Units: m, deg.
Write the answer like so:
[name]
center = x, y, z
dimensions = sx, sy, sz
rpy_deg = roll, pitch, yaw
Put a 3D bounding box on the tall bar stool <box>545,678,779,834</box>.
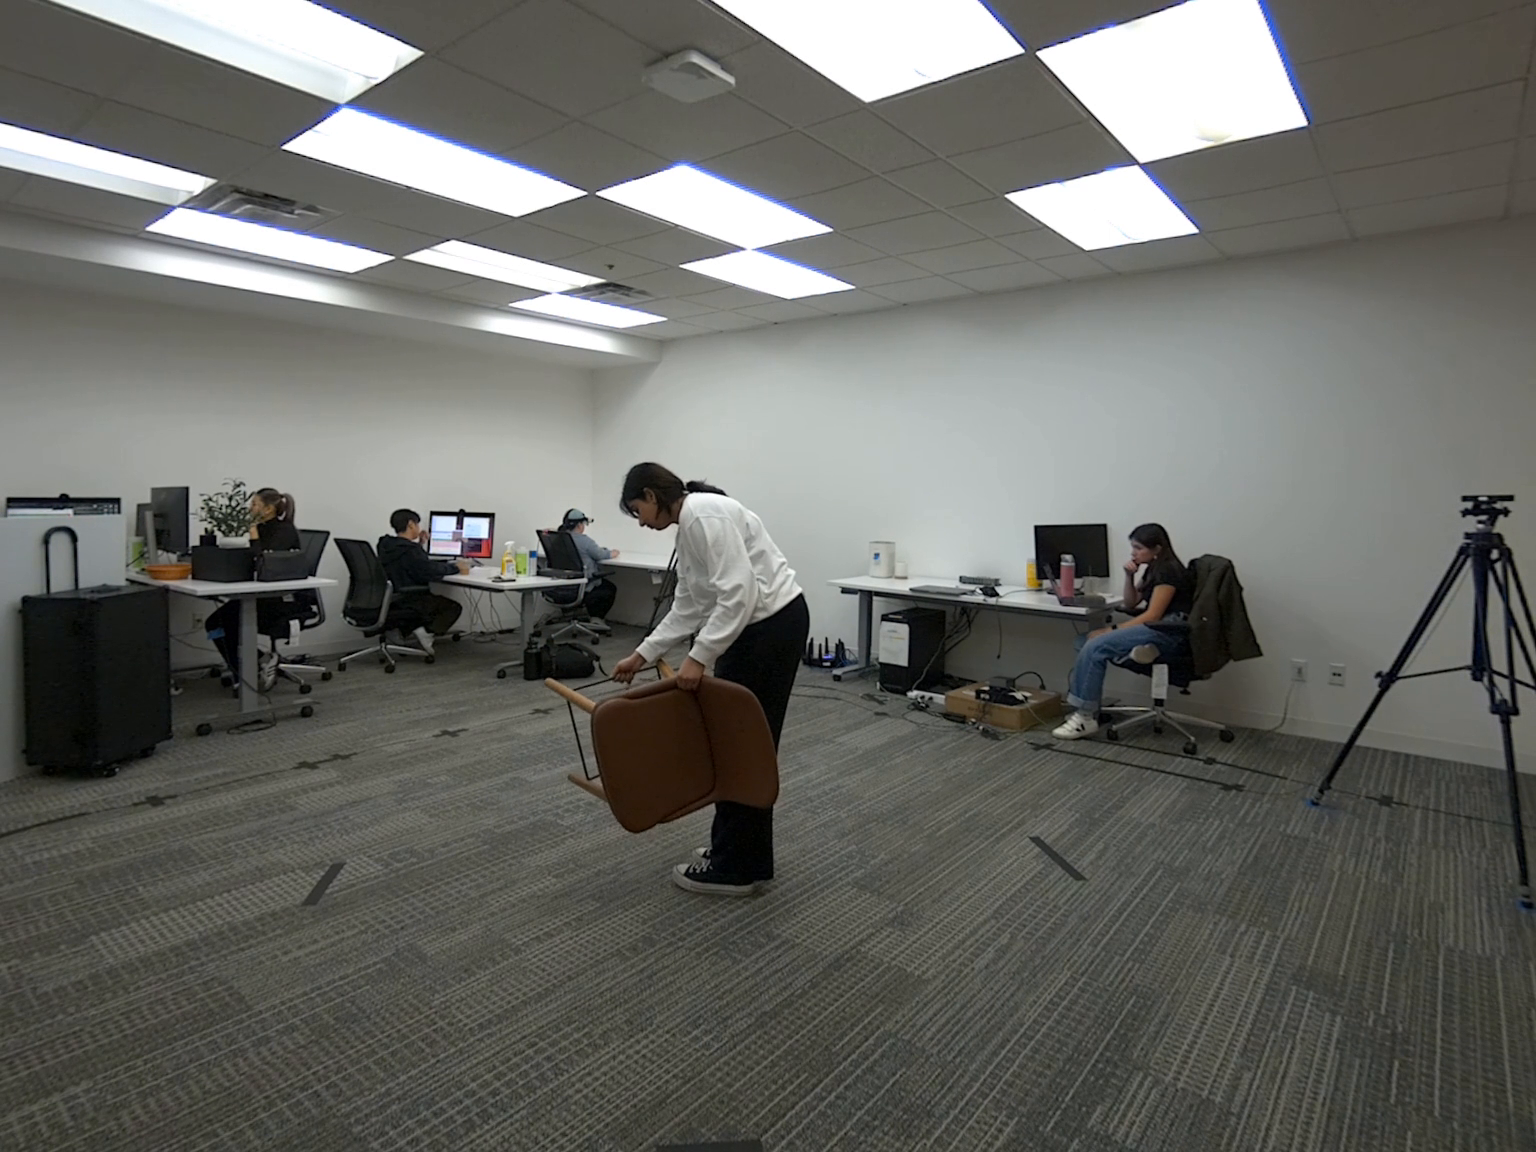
[tall bar stool]
center = -0.396, 0.549, 2.908
dimensions = 0.459, 0.452, 0.915
rpy_deg = -14, 10, -27
